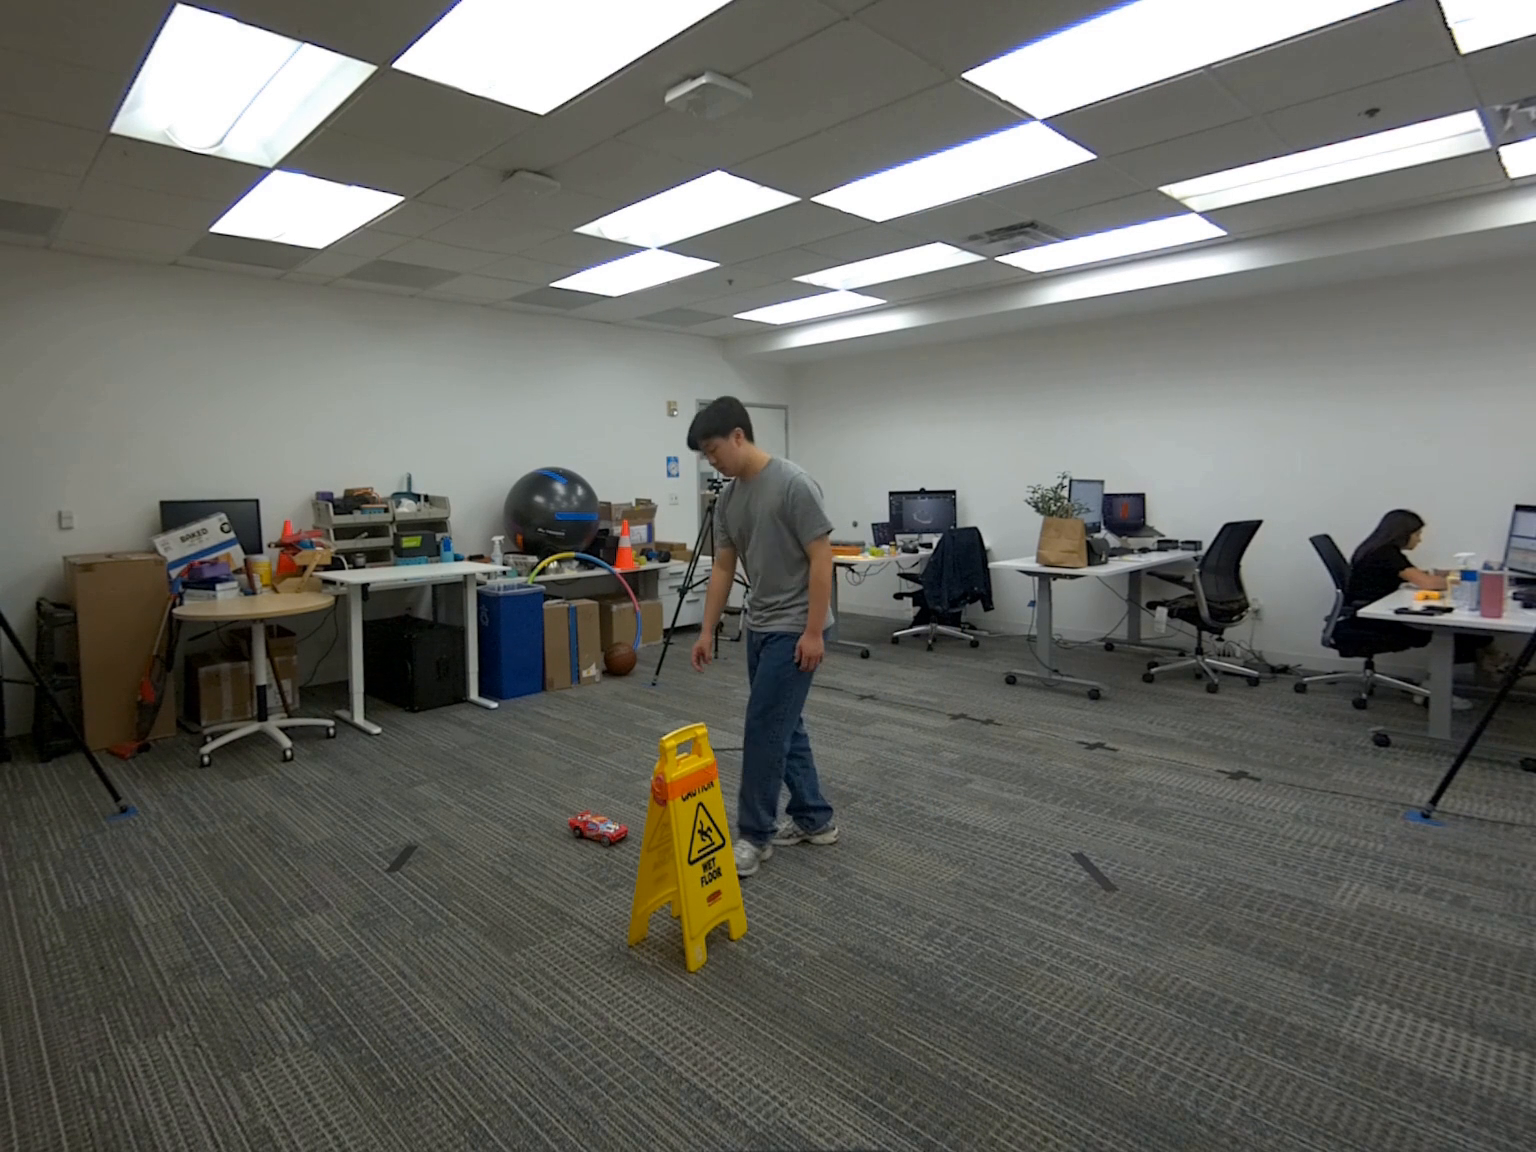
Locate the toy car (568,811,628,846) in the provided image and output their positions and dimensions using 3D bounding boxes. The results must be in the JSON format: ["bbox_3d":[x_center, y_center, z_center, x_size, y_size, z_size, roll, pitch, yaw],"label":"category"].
[{"bbox_3d":[-0.672,0.995,3.368,0.263,0.082,0.127,14,14,32],"label":"toy car"}]
